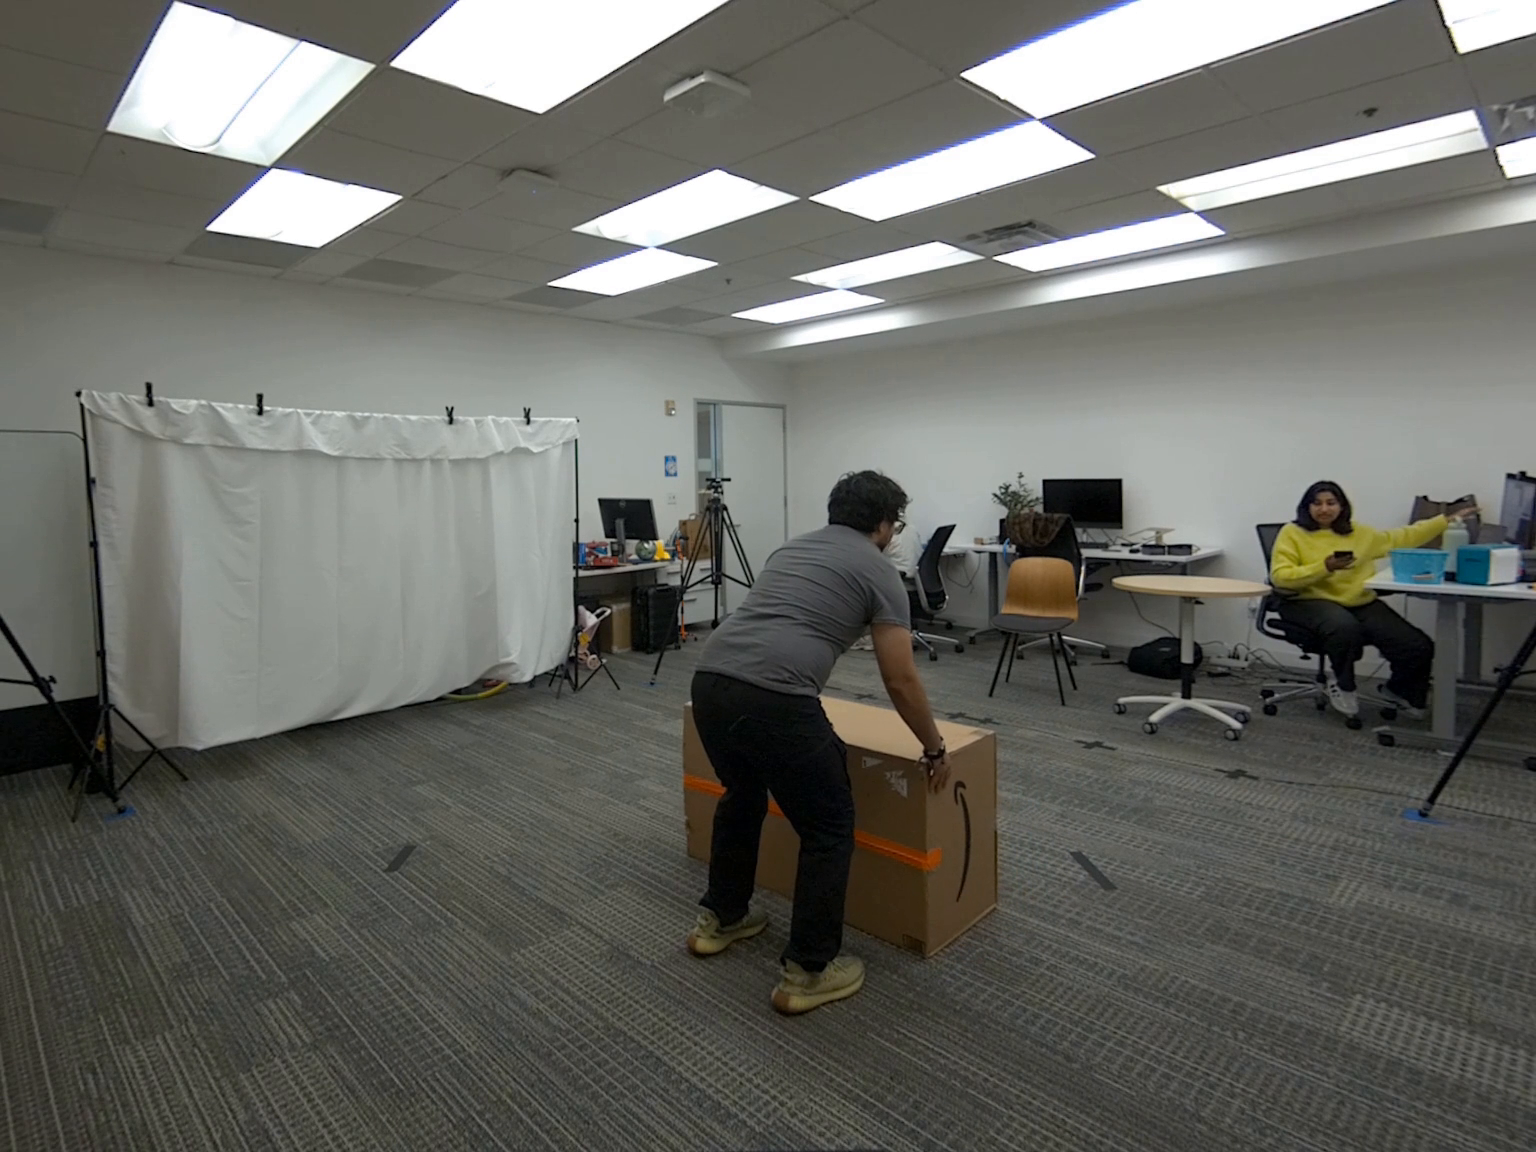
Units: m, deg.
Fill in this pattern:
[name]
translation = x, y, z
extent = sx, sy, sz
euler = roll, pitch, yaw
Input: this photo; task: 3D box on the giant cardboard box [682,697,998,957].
[giant cardboard box]
translation = 0.215, 0.770, 2.952
extent = 1.057, 0.575, 0.415
euler = 4, 7, 43
